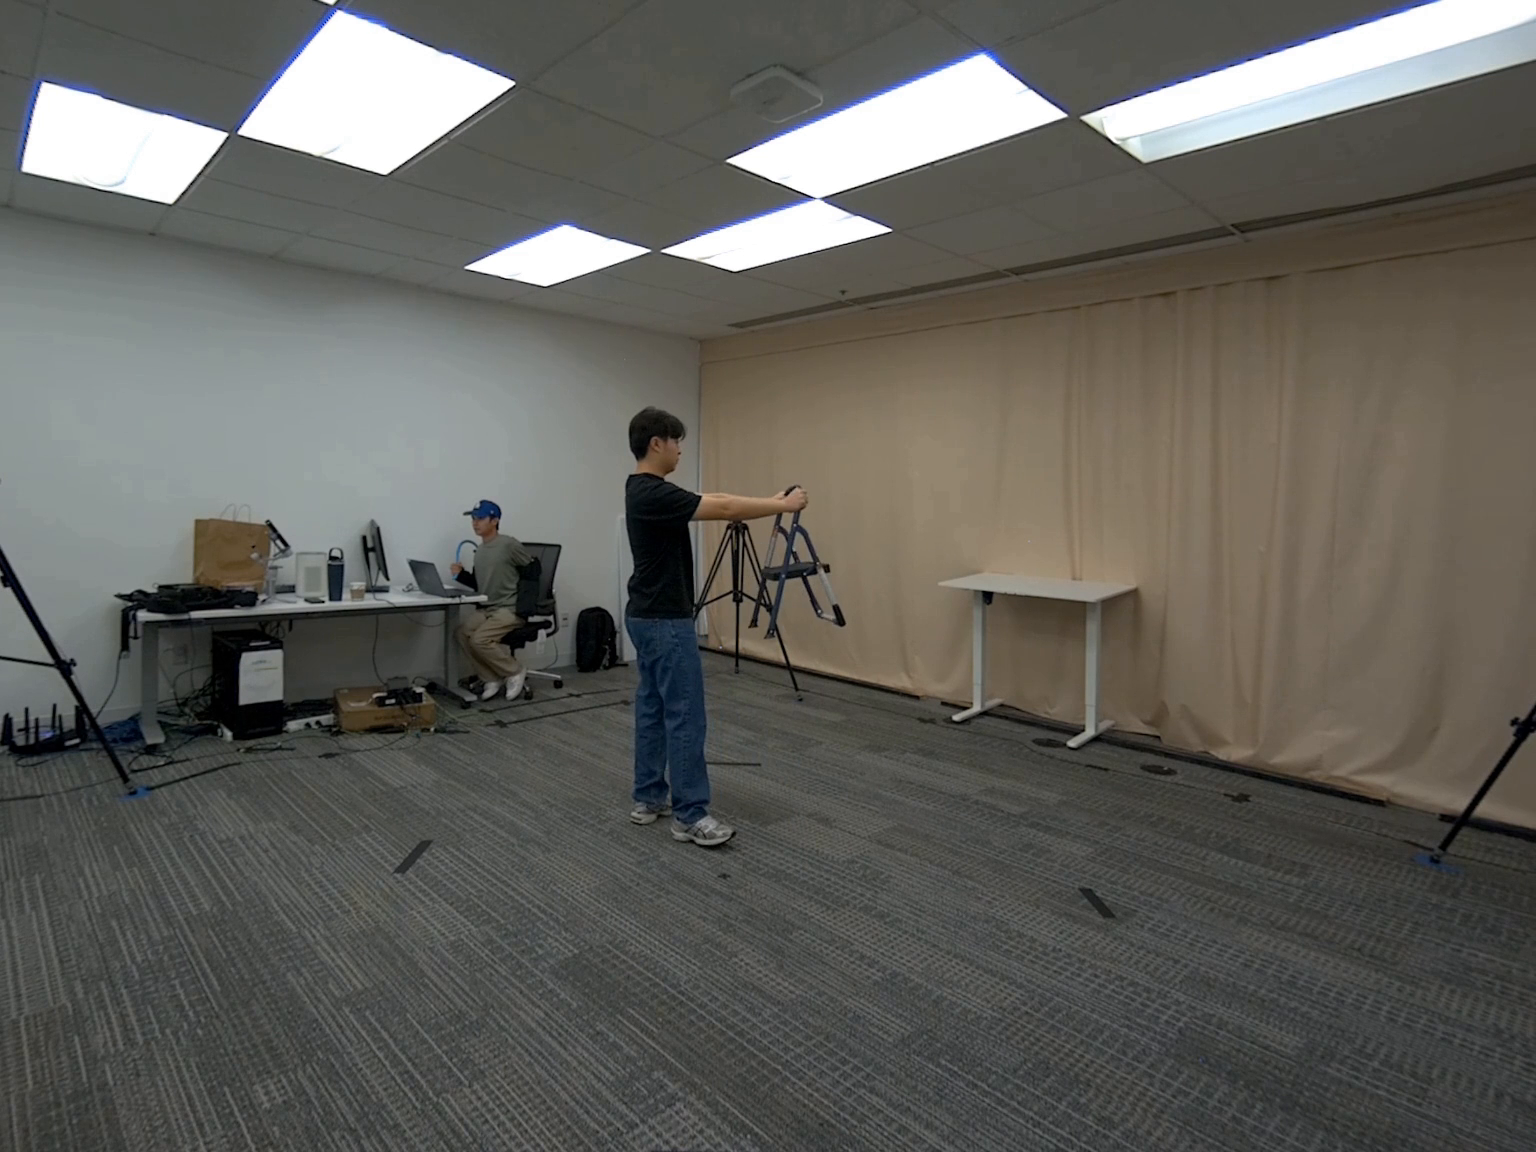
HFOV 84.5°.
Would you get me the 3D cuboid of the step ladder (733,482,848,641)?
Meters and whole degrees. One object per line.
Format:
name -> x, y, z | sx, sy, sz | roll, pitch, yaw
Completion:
step ladder -> 0.077, -0.076, 3.654 | 0.347, 0.605, 0.434 | -7, 3, -9
